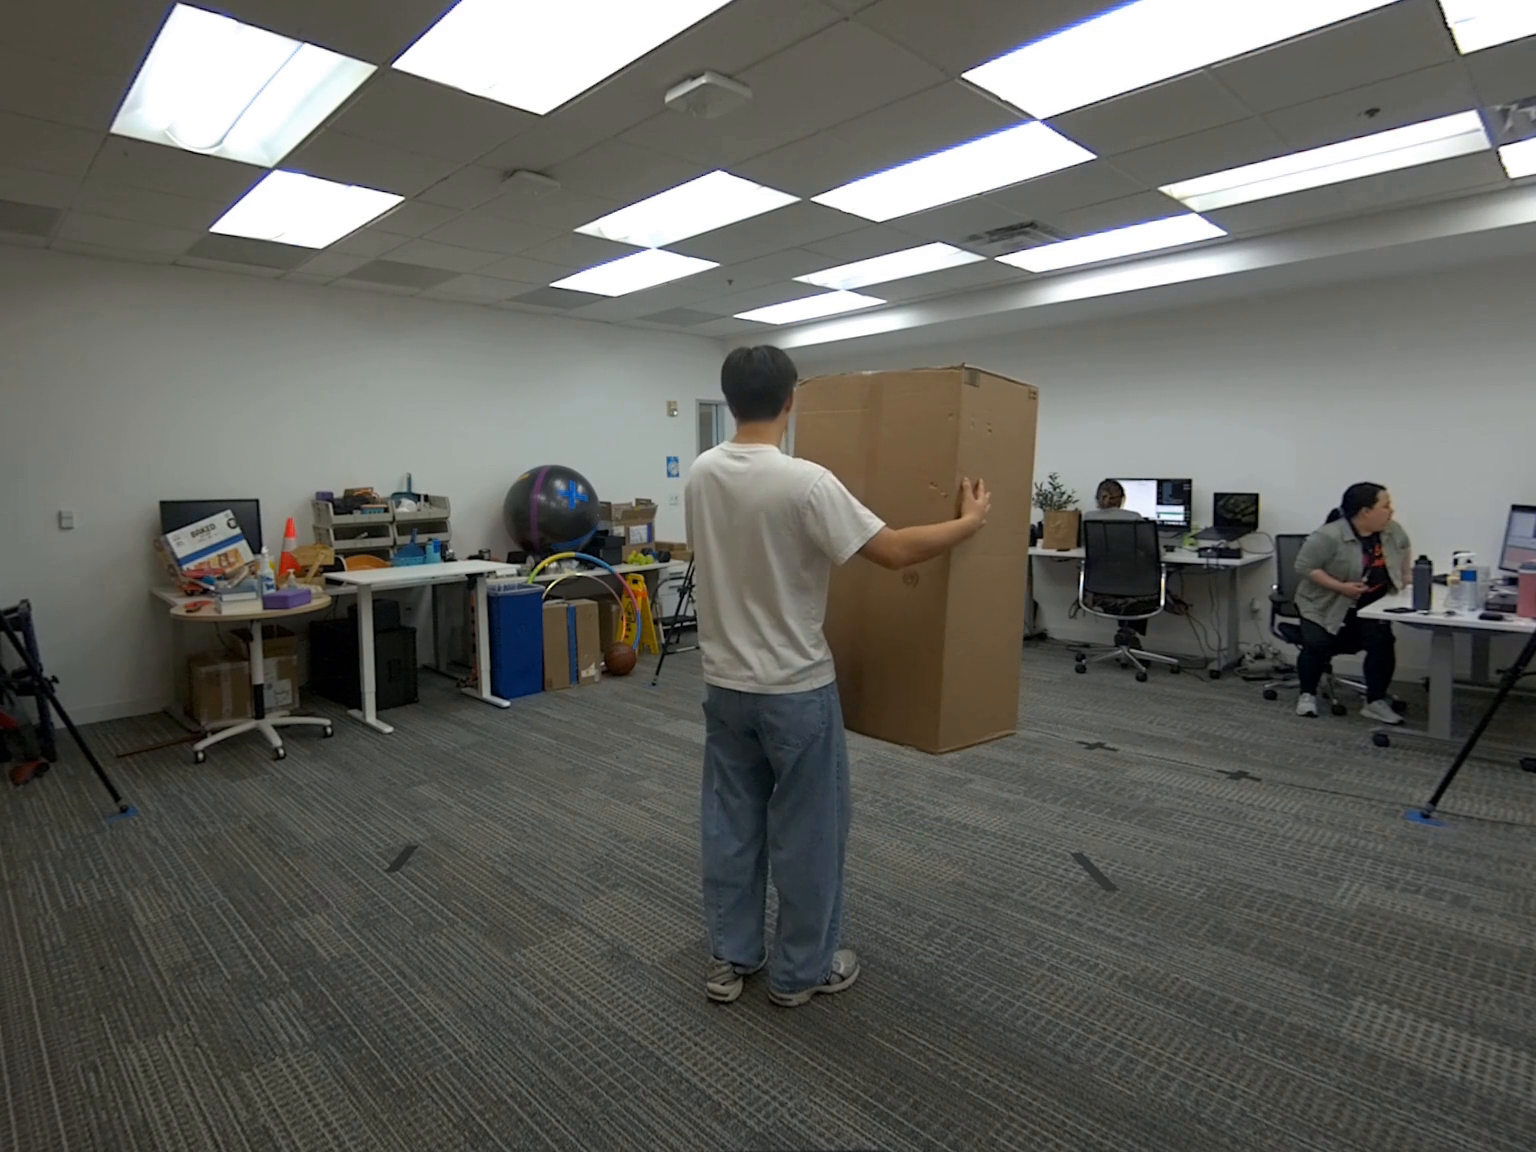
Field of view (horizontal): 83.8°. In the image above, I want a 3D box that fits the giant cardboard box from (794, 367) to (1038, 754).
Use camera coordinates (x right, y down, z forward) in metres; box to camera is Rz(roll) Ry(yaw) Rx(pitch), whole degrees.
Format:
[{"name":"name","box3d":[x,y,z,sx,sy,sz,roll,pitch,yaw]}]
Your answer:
[{"name":"giant cardboard box","box3d":[0.412,-0.064,2.559,0.596,1.025,0.413,5,2,45]}]
